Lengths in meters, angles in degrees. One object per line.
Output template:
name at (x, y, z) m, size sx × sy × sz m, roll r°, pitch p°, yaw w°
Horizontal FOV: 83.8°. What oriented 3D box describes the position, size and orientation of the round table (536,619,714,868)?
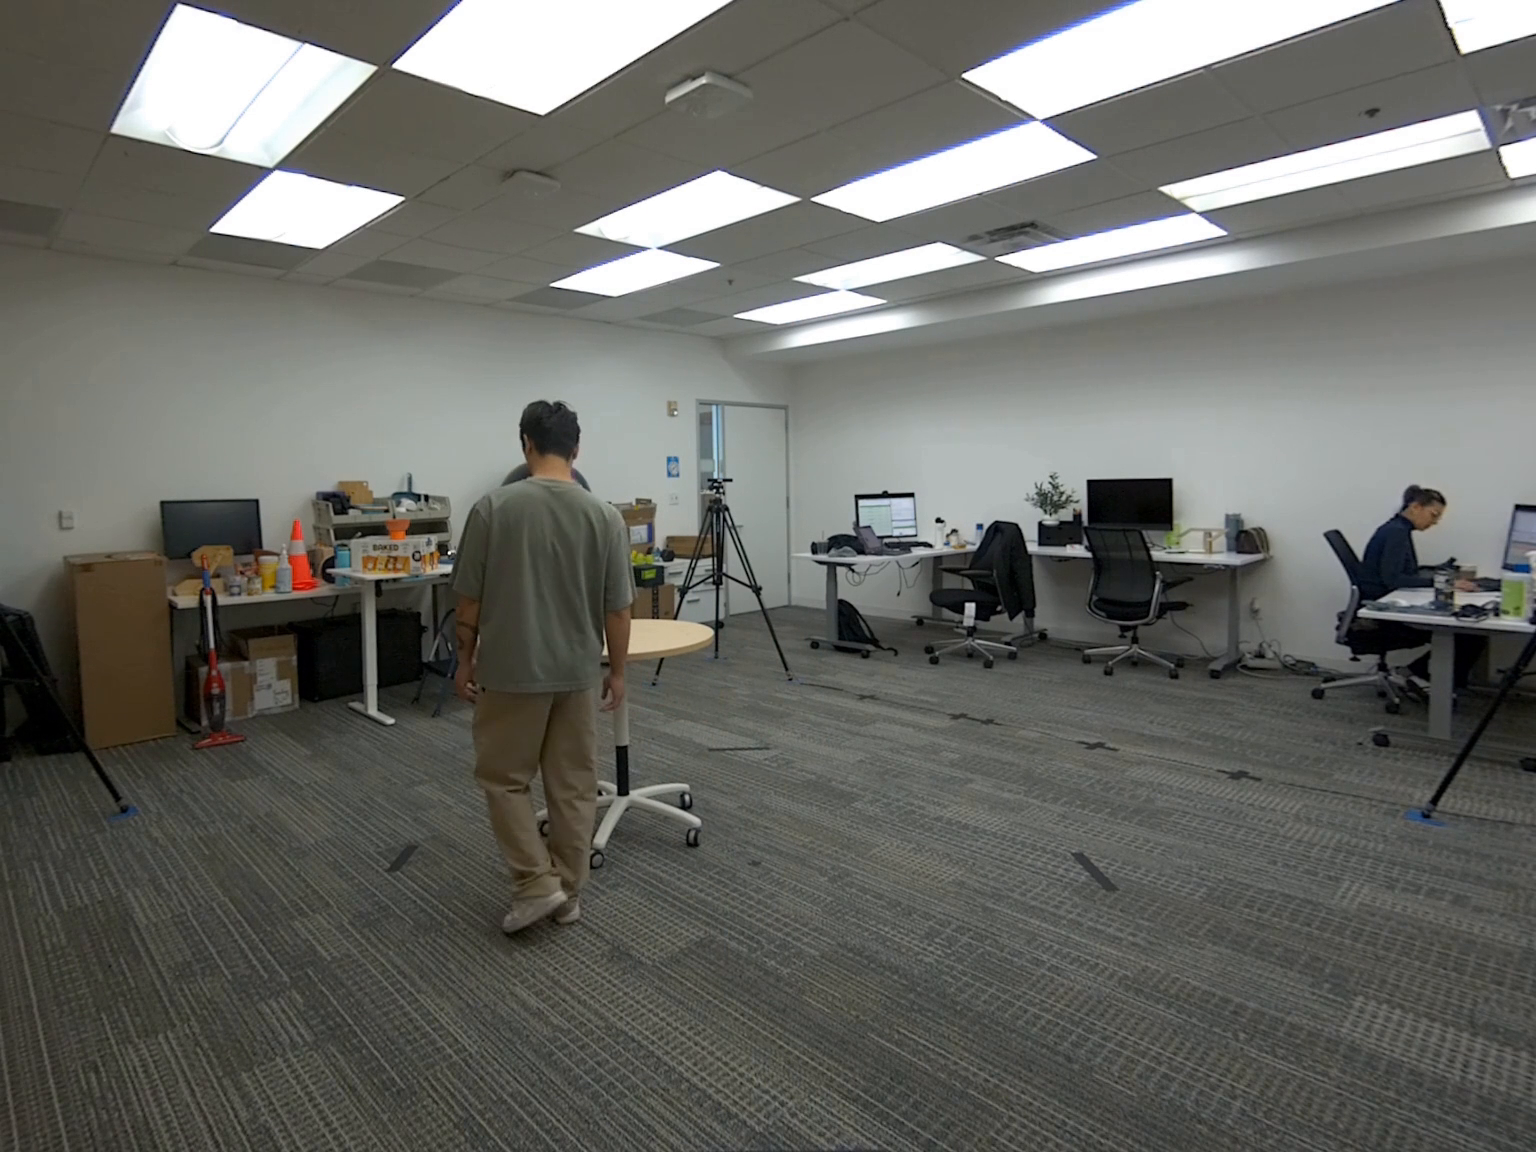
round table at (-0.588, 0.627, 3.405) m, size 0.784 × 0.784 × 0.789 m, roll -2°, pitch 4°, yaw -2°
